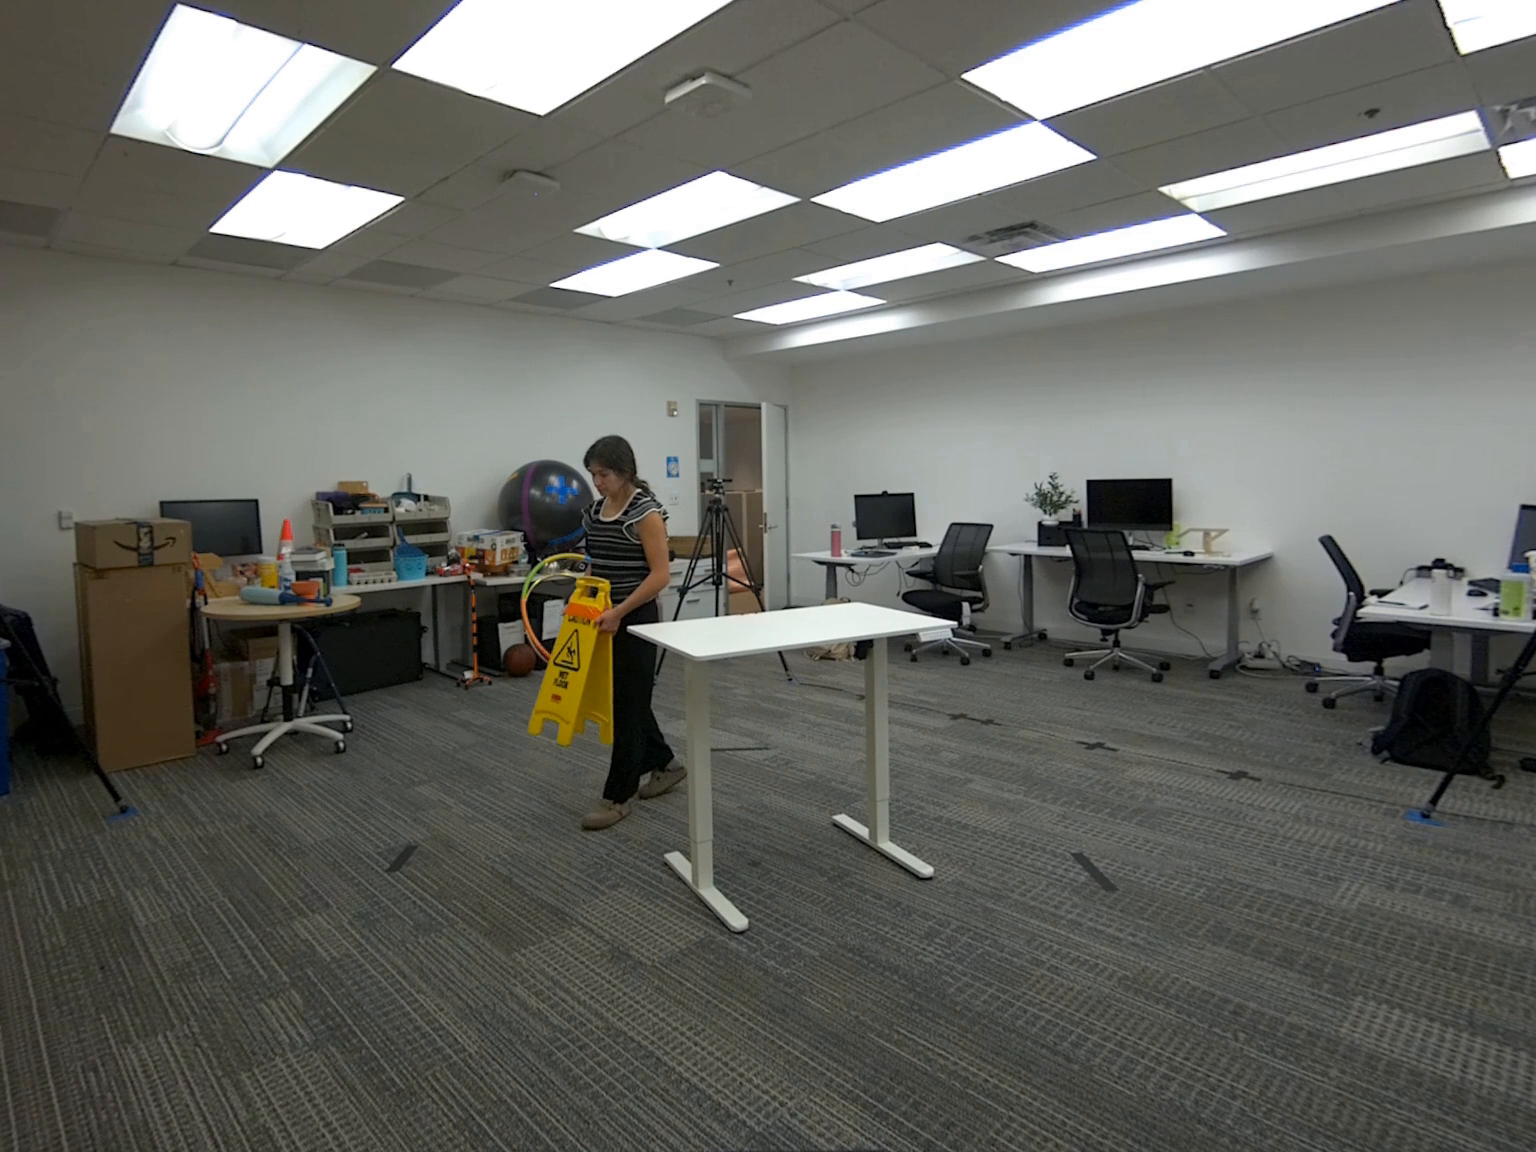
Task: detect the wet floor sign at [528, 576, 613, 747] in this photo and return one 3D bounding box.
[{"bbox_3d":[-0.752,0.333,3.454,0.291,0.648,0.280,5,-4,42],"label":"wet floor sign"}]
